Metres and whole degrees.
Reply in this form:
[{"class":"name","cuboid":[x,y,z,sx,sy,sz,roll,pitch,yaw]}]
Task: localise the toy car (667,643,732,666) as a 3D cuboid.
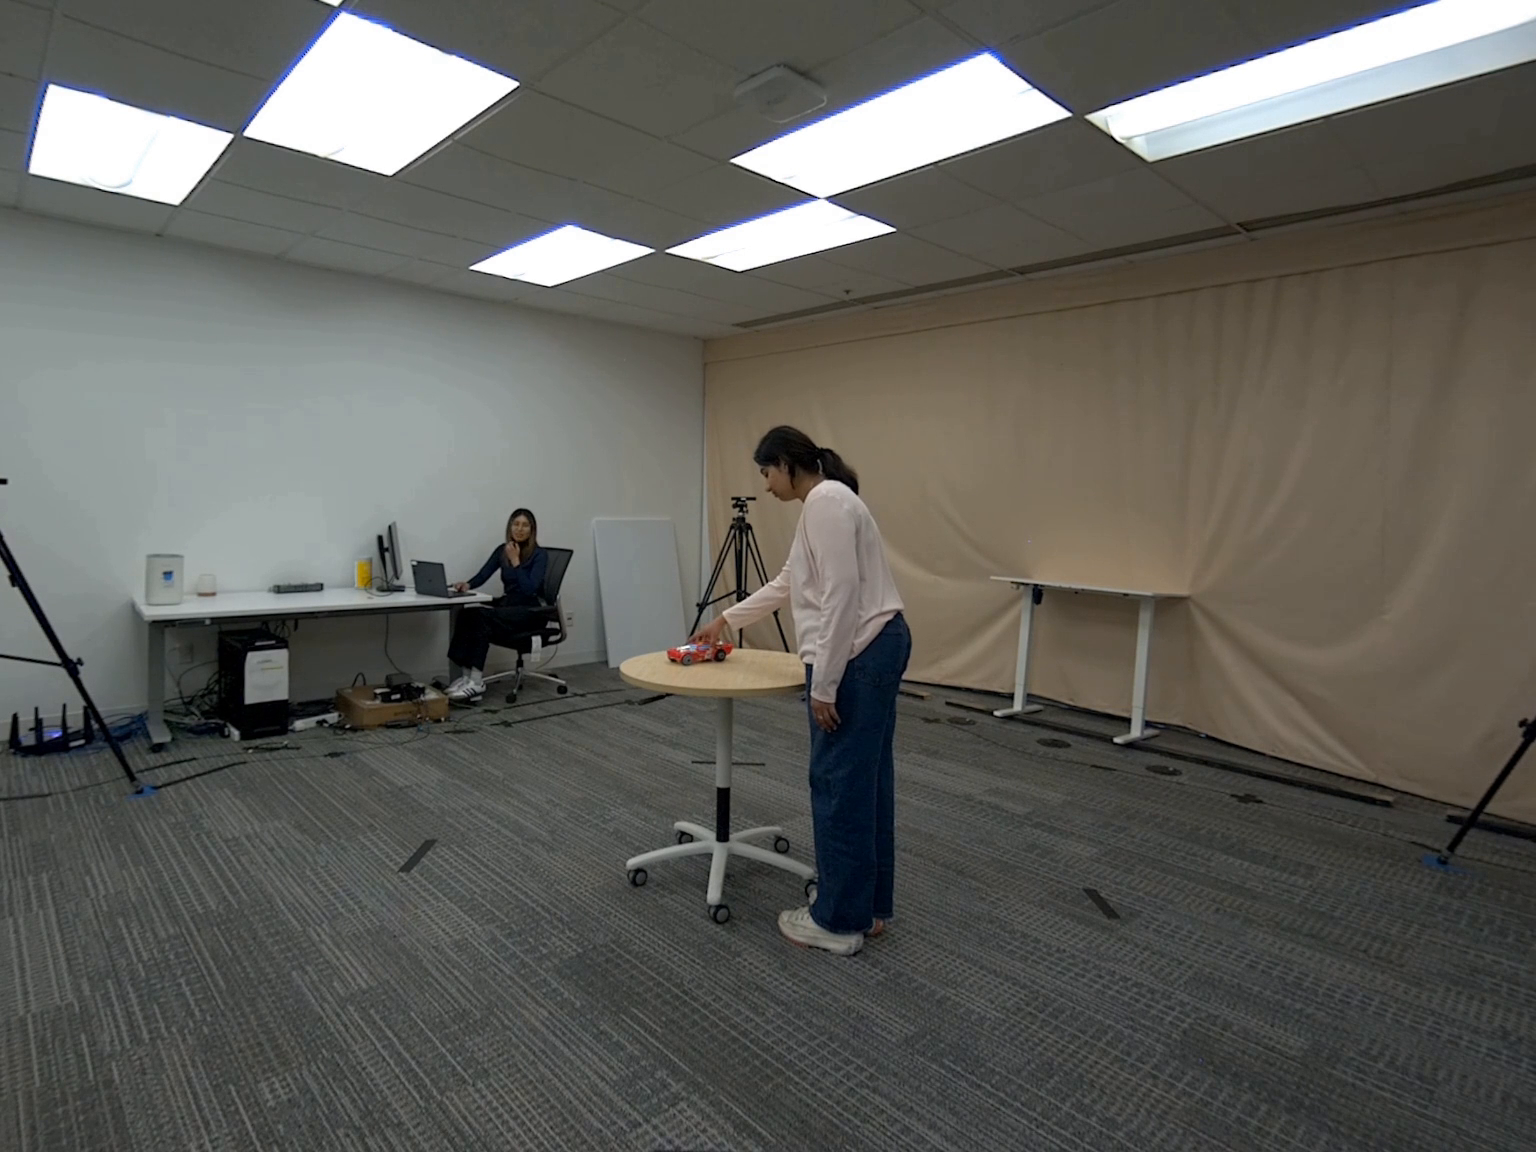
[{"class":"toy car","cuboid":[-0.256,0.287,3.146,0.250,0.082,0.133,-15,12,-34]}]
